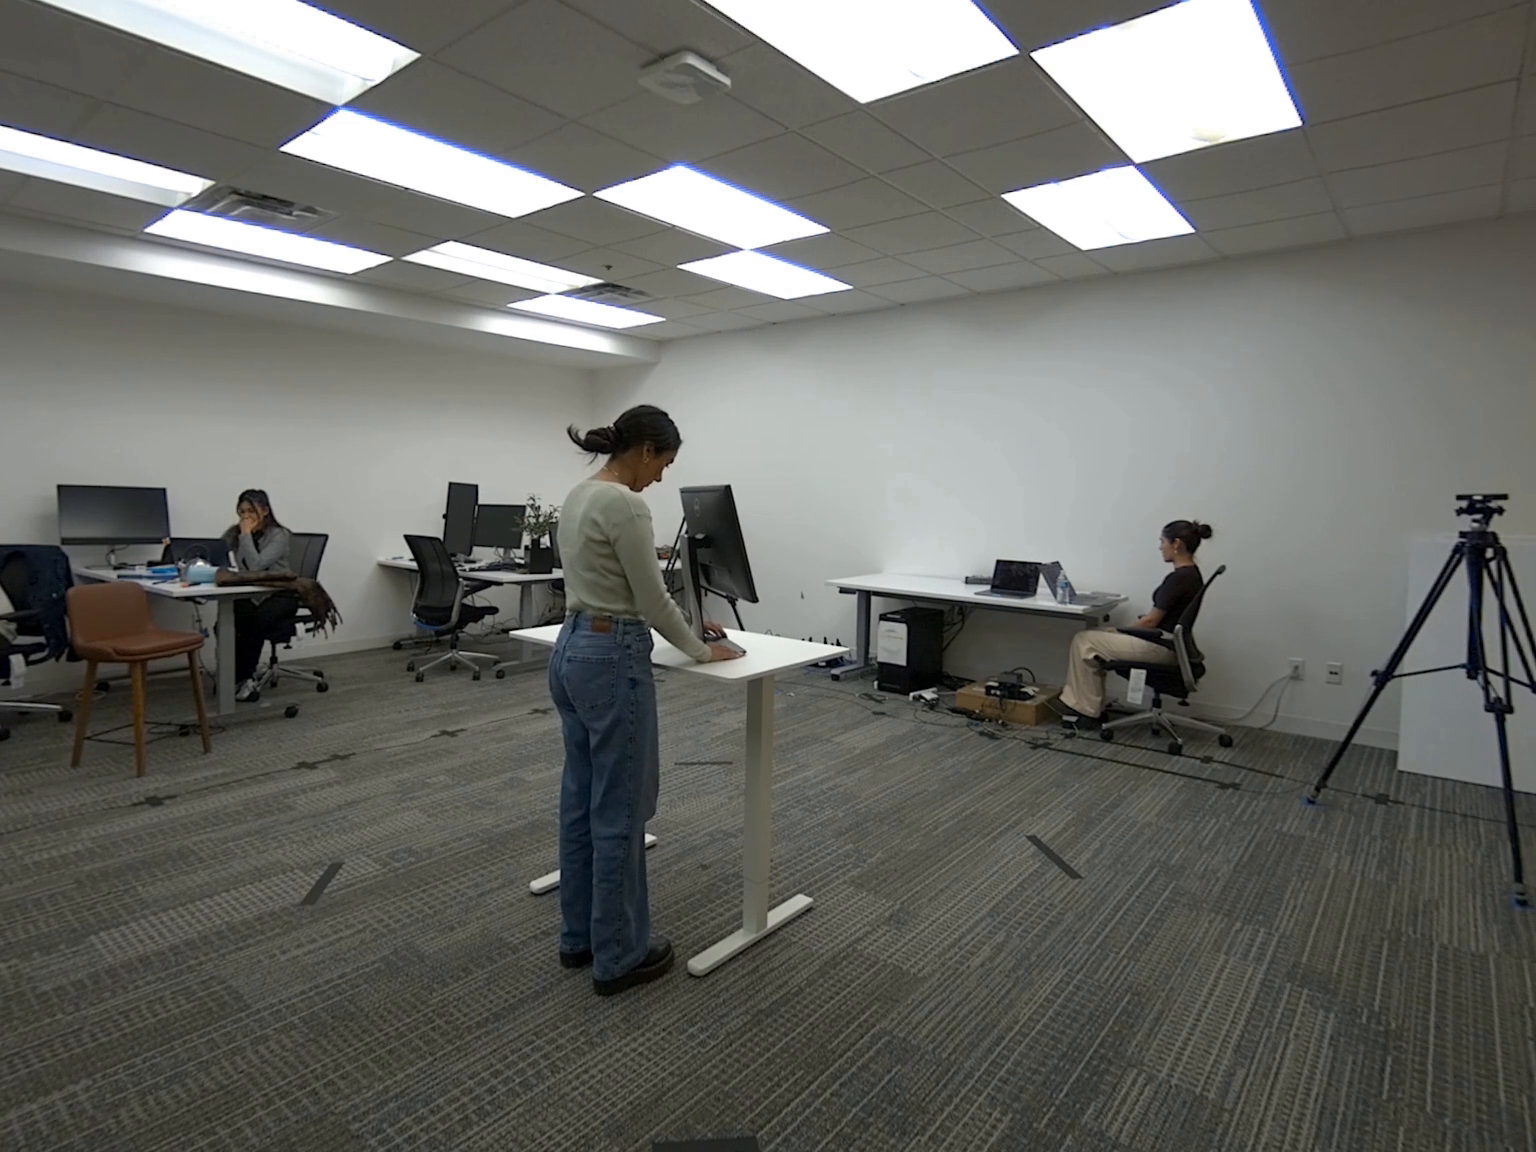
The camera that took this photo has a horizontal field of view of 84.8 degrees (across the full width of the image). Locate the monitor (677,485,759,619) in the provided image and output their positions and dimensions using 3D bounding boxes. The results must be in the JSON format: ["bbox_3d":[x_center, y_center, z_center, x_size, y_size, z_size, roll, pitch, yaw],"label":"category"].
[{"bbox_3d":[-0.191,-0.029,2.677,0.172,0.515,0.539,5,3,-16],"label":"monitor"}]
